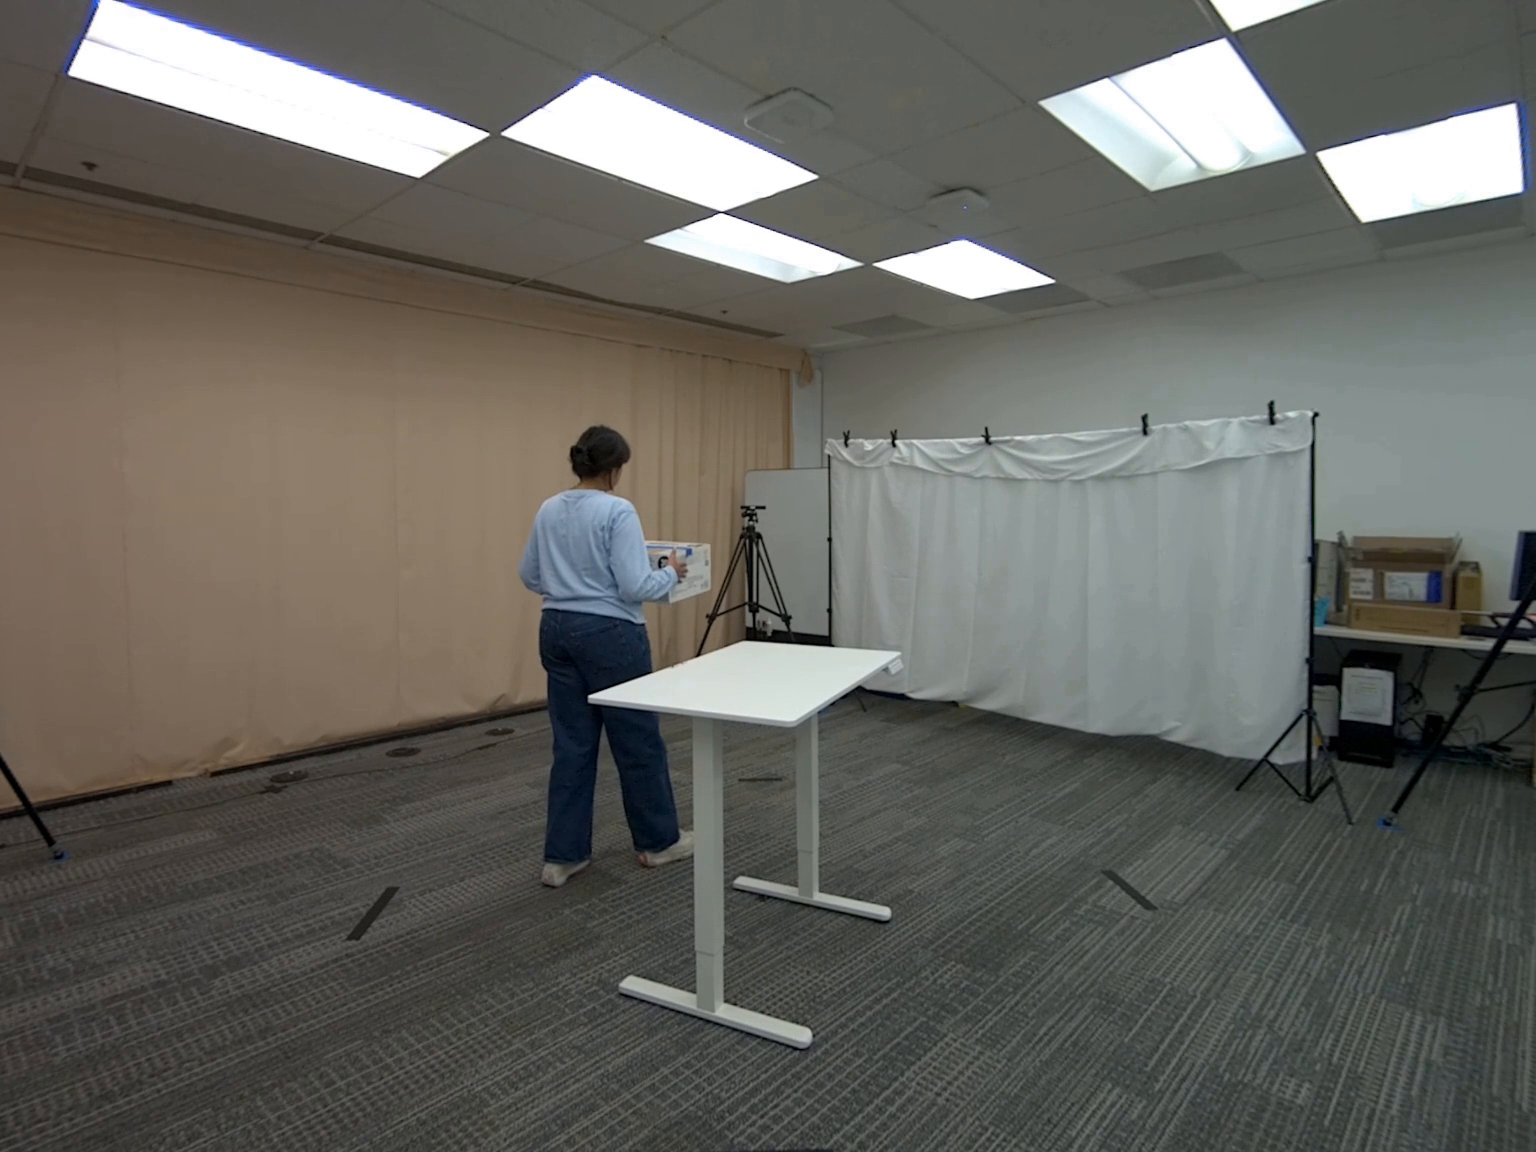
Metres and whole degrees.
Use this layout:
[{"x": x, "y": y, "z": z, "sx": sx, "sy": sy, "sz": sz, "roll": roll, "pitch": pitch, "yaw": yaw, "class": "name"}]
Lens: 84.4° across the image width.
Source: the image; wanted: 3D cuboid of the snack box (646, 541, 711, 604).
[{"x": -0.496, "y": -0.028, "z": 3.542, "sx": 0.416, "sy": 0.204, "sz": 0.333, "roll": 4, "pitch": 10, "yaw": 27, "class": "snack box"}]
